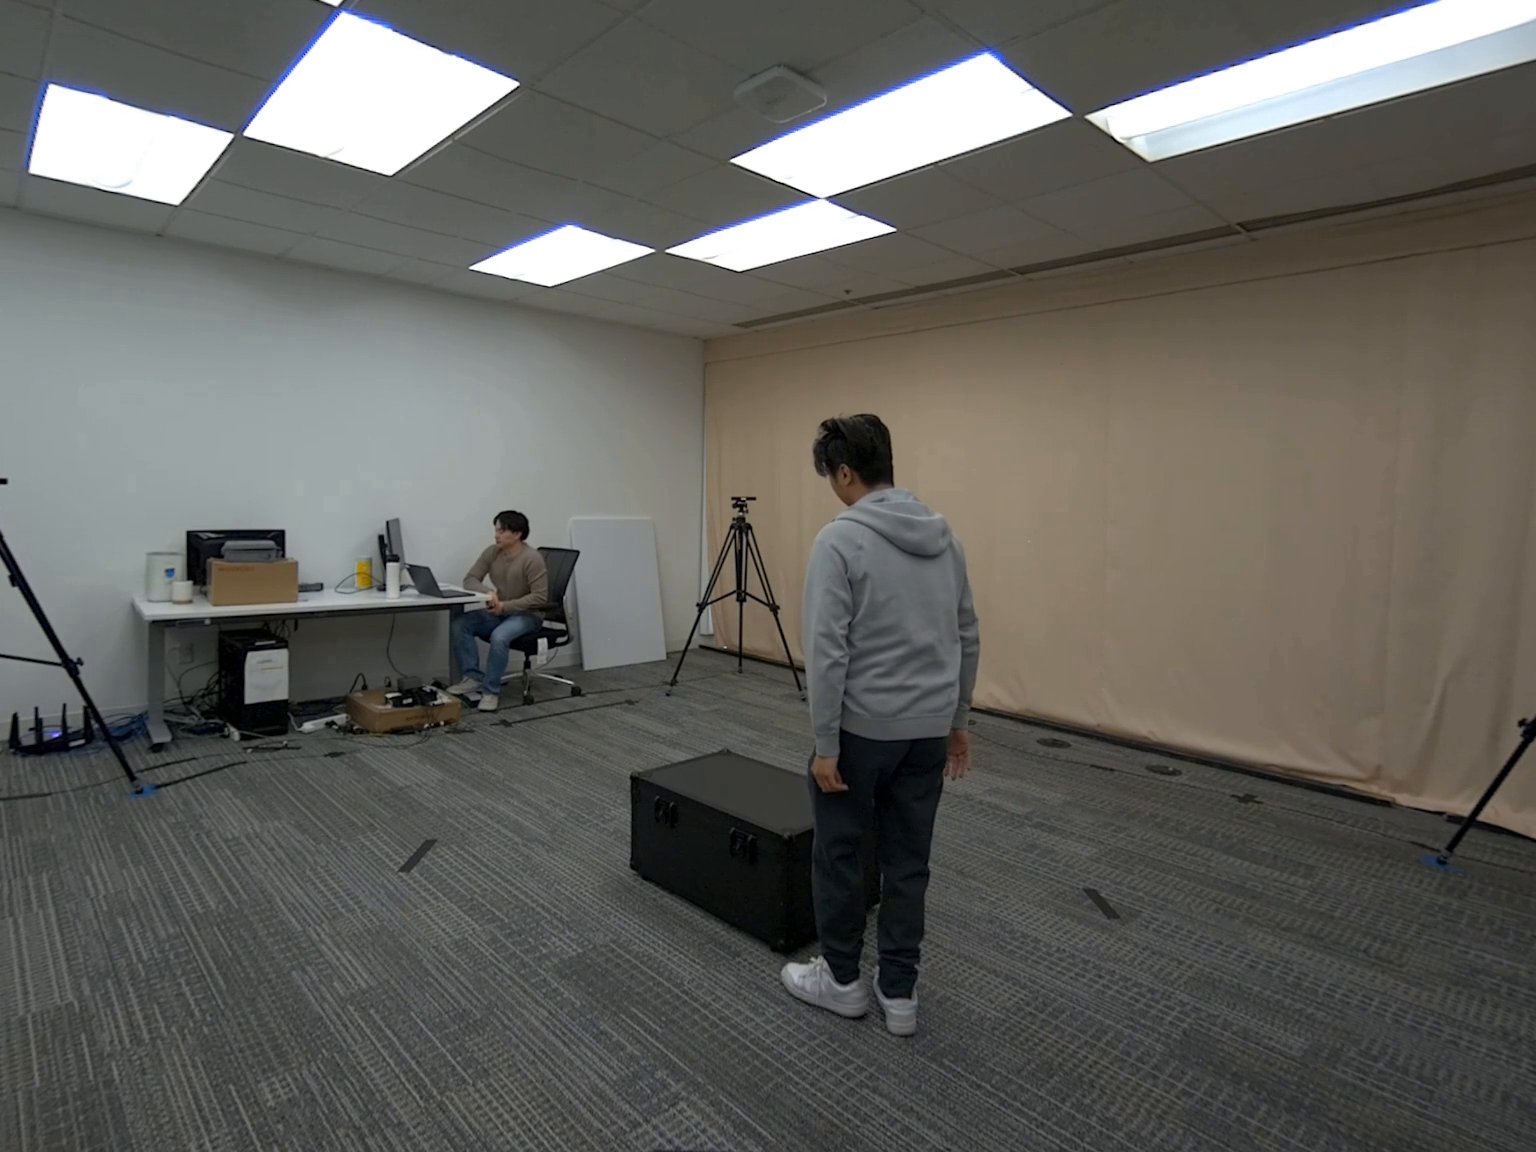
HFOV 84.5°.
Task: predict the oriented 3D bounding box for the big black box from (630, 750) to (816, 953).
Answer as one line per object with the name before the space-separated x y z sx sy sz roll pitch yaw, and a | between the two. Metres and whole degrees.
big black box | -0.084 0.927 2.998 0.884 0.395 0.509 7 7 44
